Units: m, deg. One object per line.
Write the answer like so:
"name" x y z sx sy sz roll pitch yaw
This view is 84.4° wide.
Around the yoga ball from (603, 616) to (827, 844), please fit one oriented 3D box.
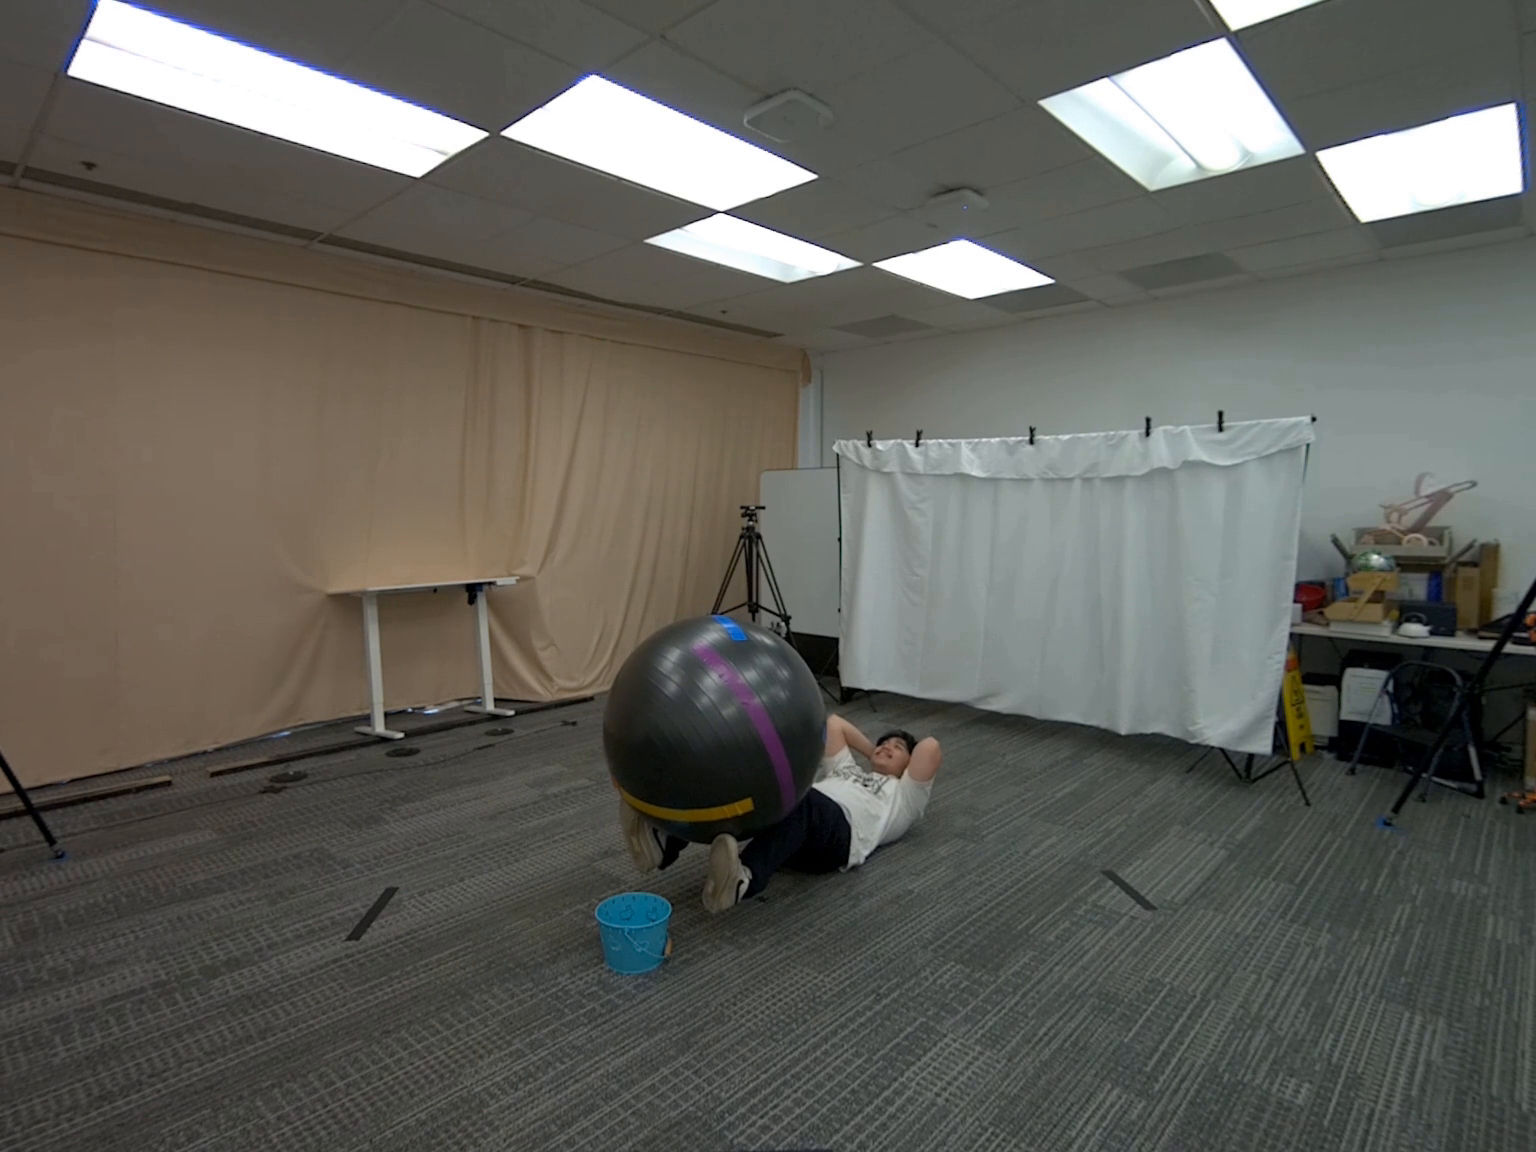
"yoga ball" -0.178 0.507 2.869 0.757 0.756 0.760 0 4 -2
